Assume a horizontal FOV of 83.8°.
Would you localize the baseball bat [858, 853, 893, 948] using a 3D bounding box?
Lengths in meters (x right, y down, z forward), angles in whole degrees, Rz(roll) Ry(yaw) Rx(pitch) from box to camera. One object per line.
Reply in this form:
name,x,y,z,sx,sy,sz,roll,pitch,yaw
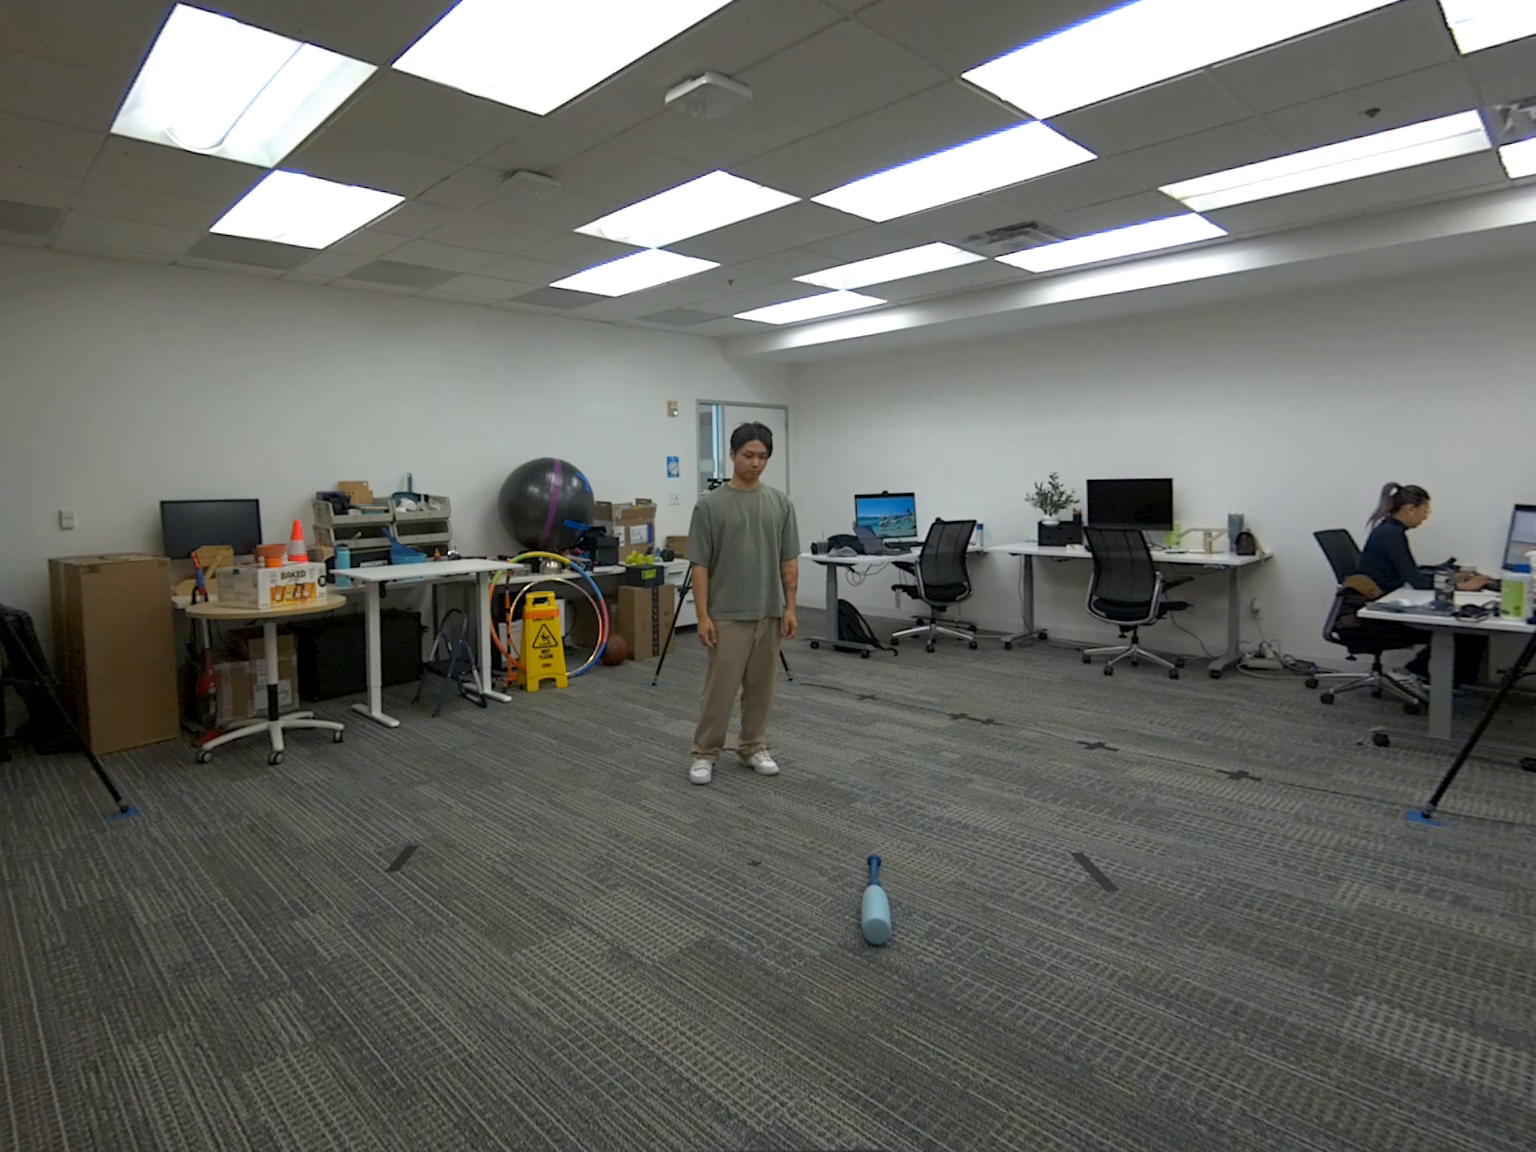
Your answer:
baseball bat,0.352,1.037,2.795,0.090,0.089,0.539,0,2,6
